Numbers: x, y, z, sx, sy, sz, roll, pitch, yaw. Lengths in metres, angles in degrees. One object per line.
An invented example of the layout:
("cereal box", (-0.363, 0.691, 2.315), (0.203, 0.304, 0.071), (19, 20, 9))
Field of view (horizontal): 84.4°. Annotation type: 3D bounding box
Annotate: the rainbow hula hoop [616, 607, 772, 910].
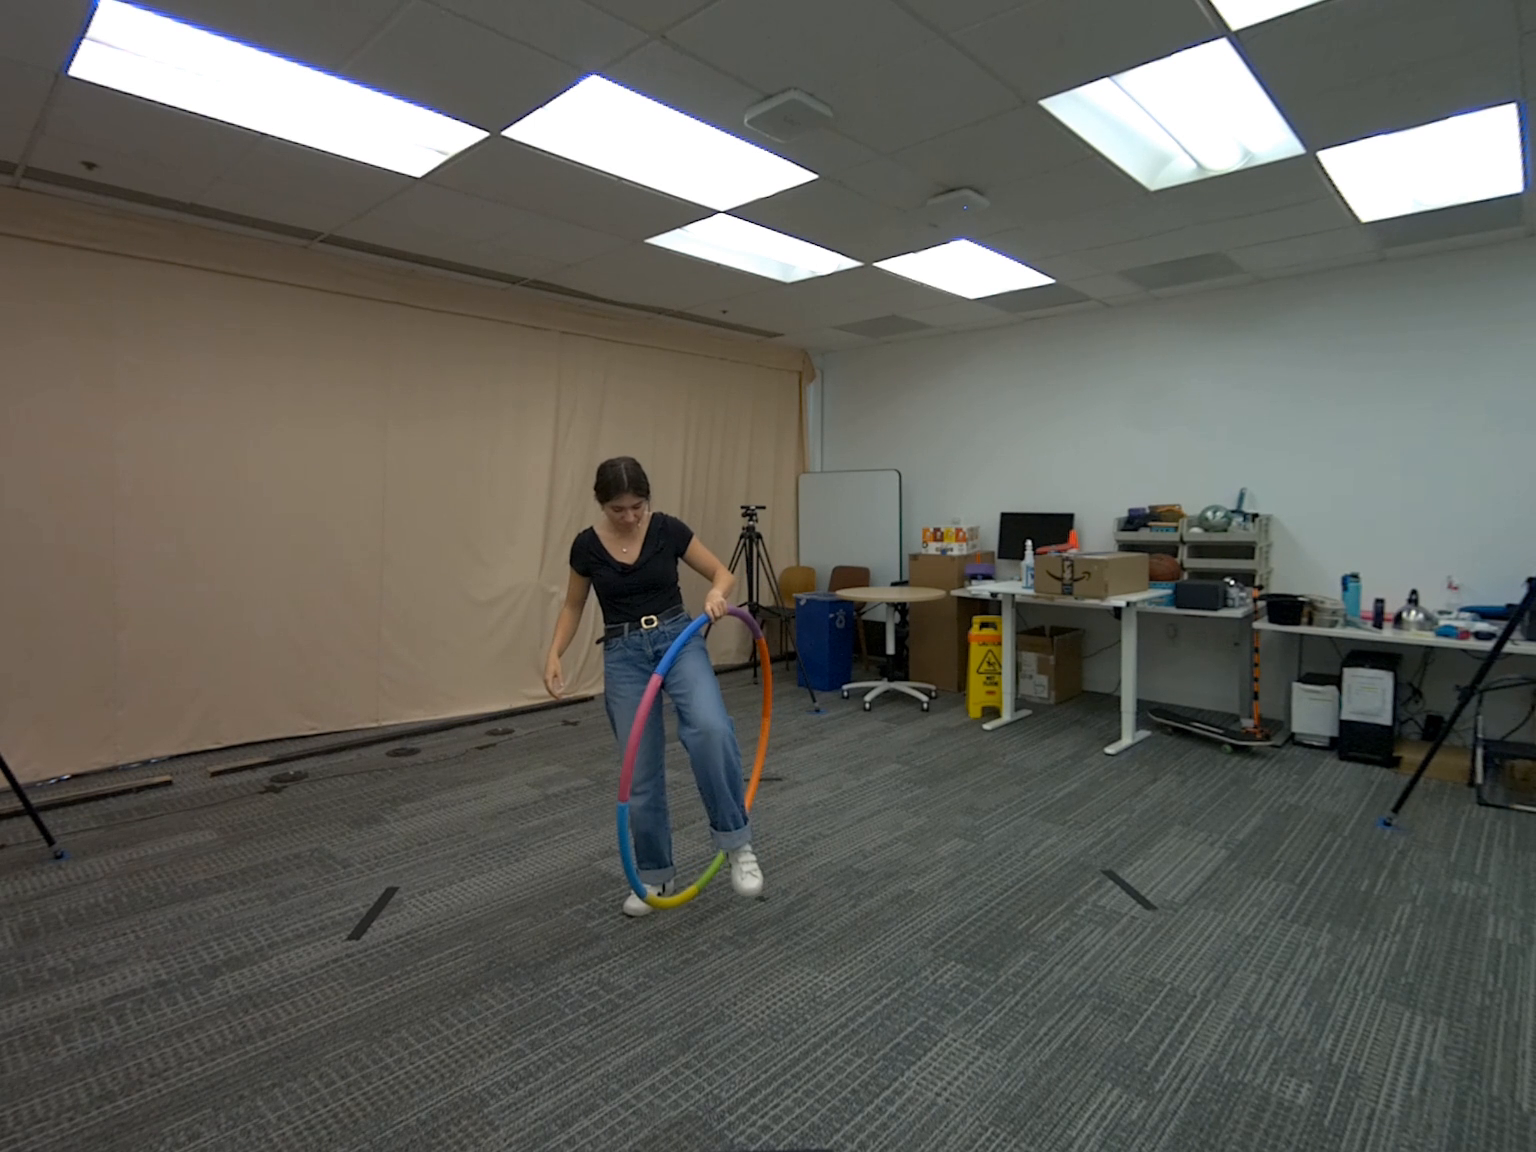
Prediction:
("rainbow hula hoop", (-0.193, 0.582, 2.789), (0.036, 0.975, 0.955), (9, 7, 25))
